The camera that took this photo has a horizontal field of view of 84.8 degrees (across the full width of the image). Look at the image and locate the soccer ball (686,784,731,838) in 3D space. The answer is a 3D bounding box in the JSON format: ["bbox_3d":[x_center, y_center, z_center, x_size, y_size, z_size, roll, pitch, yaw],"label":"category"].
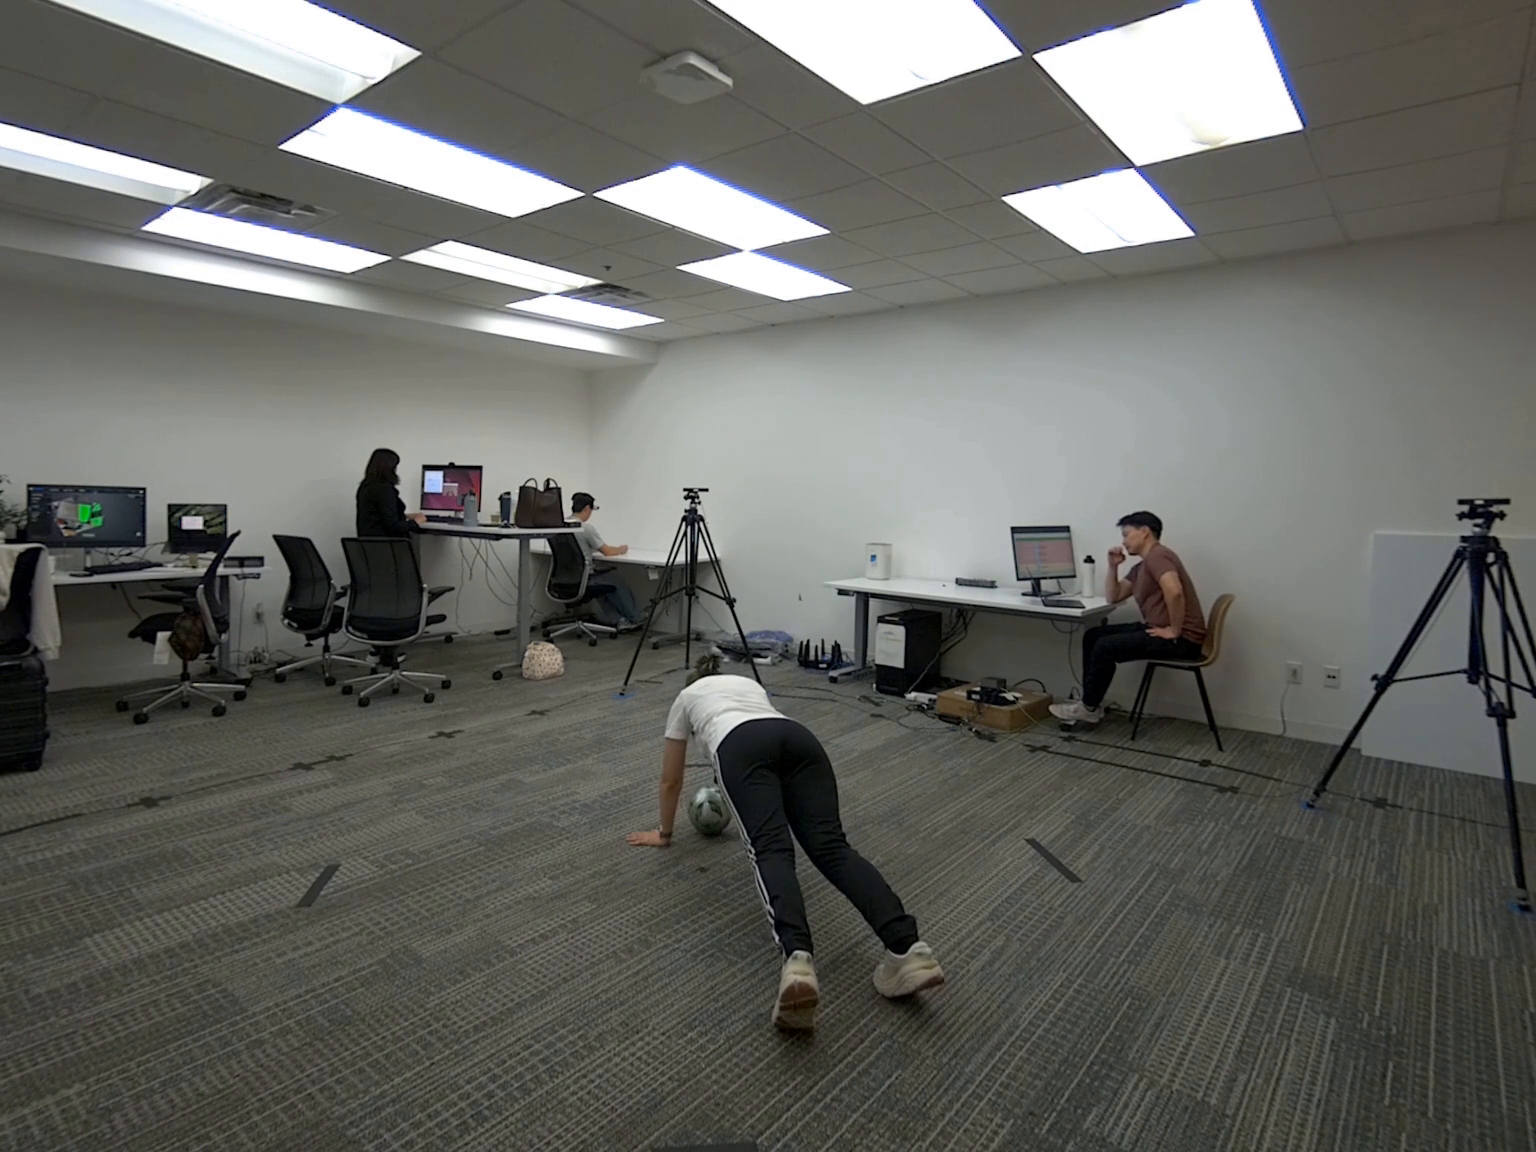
[{"bbox_3d":[-0.242,0.941,3.442,0.187,0.187,0.188,1,4,-2],"label":"soccer ball"}]
